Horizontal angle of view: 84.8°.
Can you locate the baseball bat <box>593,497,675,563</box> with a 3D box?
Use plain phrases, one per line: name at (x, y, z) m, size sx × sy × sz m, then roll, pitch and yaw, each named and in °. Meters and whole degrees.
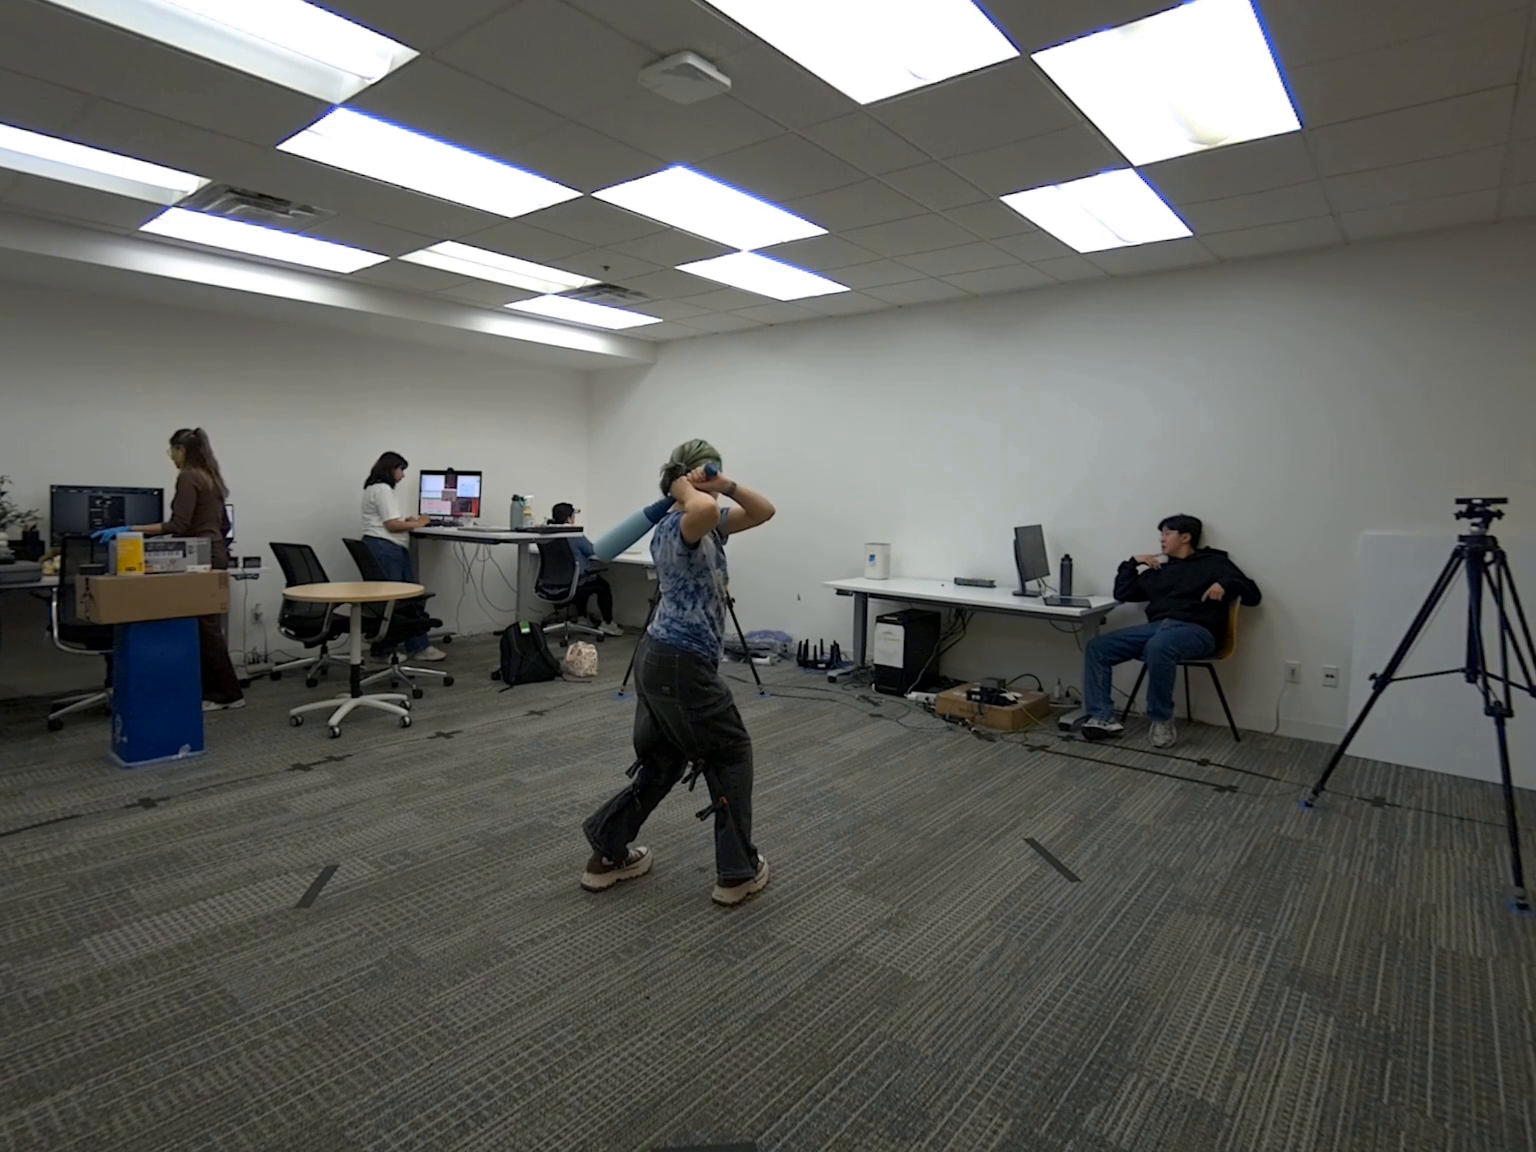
baseball bat at (-0.392, -0.218, 2.877) m, size 0.547 × 0.090 × 0.087 m, roll -34°, pitch -13°, yaw 26°
